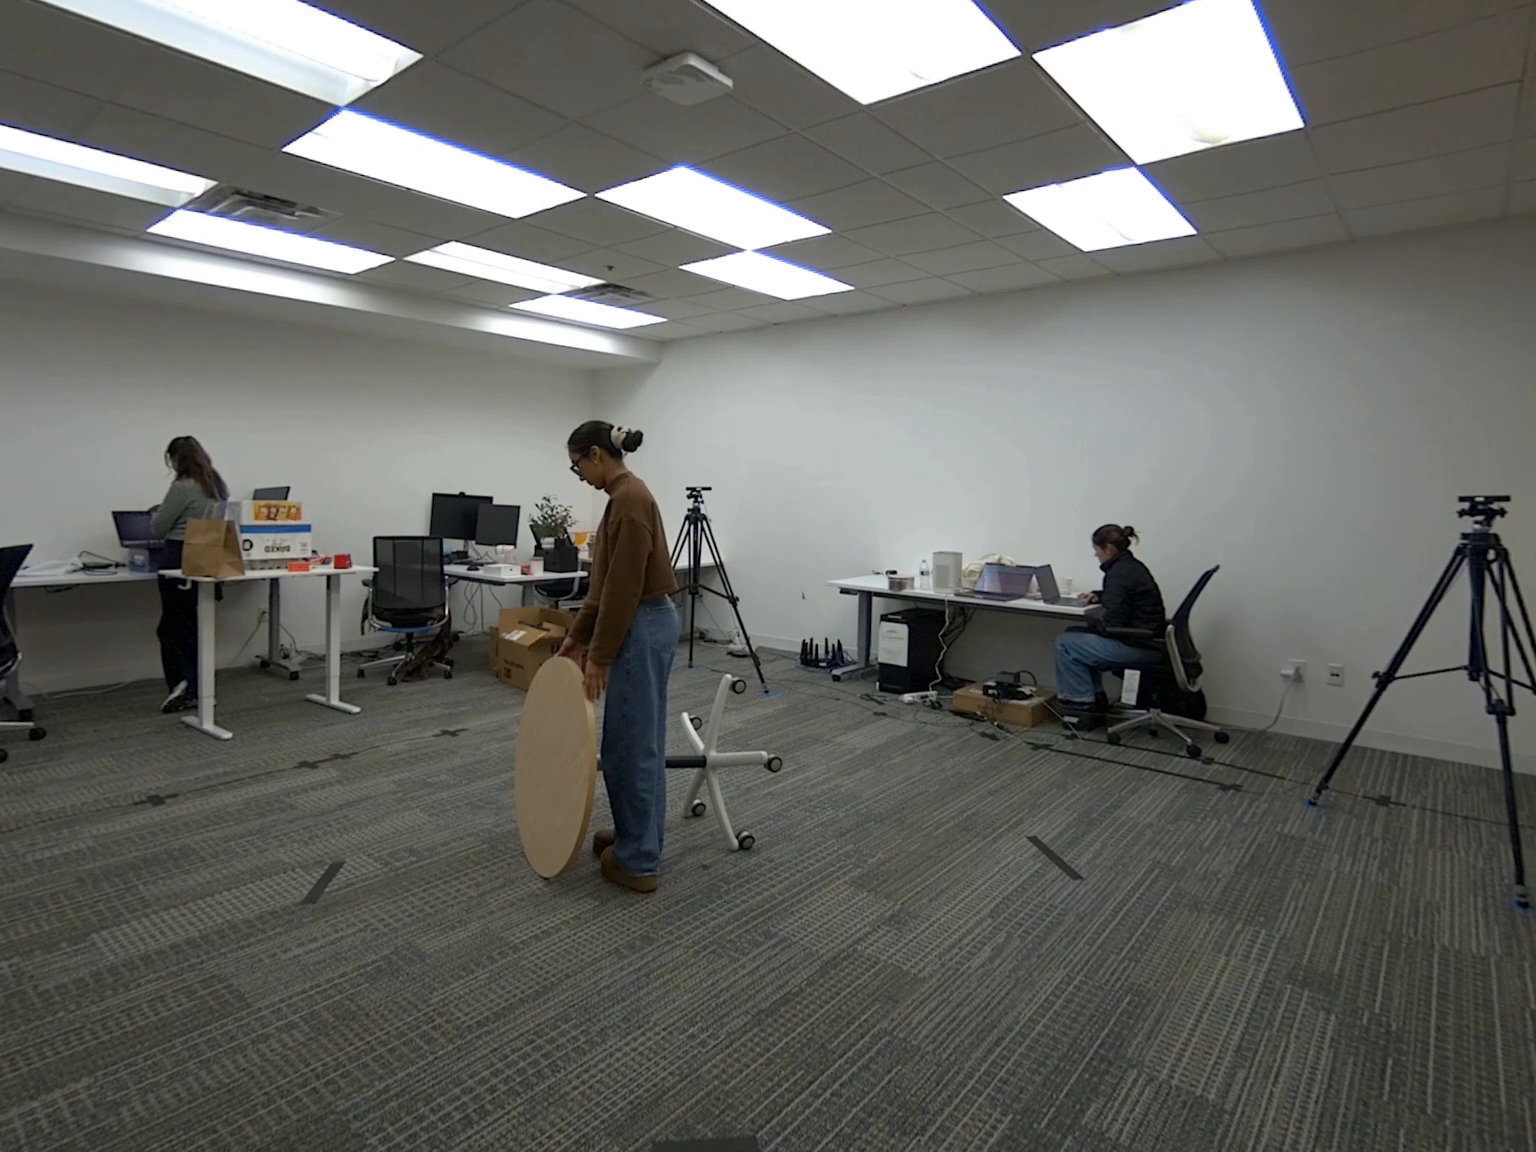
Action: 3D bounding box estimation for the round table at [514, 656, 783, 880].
[{"bbox_3d":[-0.481,0.710,3.279,0.769,0.764,0.788,7,0,-32],"label":"round table"}]
